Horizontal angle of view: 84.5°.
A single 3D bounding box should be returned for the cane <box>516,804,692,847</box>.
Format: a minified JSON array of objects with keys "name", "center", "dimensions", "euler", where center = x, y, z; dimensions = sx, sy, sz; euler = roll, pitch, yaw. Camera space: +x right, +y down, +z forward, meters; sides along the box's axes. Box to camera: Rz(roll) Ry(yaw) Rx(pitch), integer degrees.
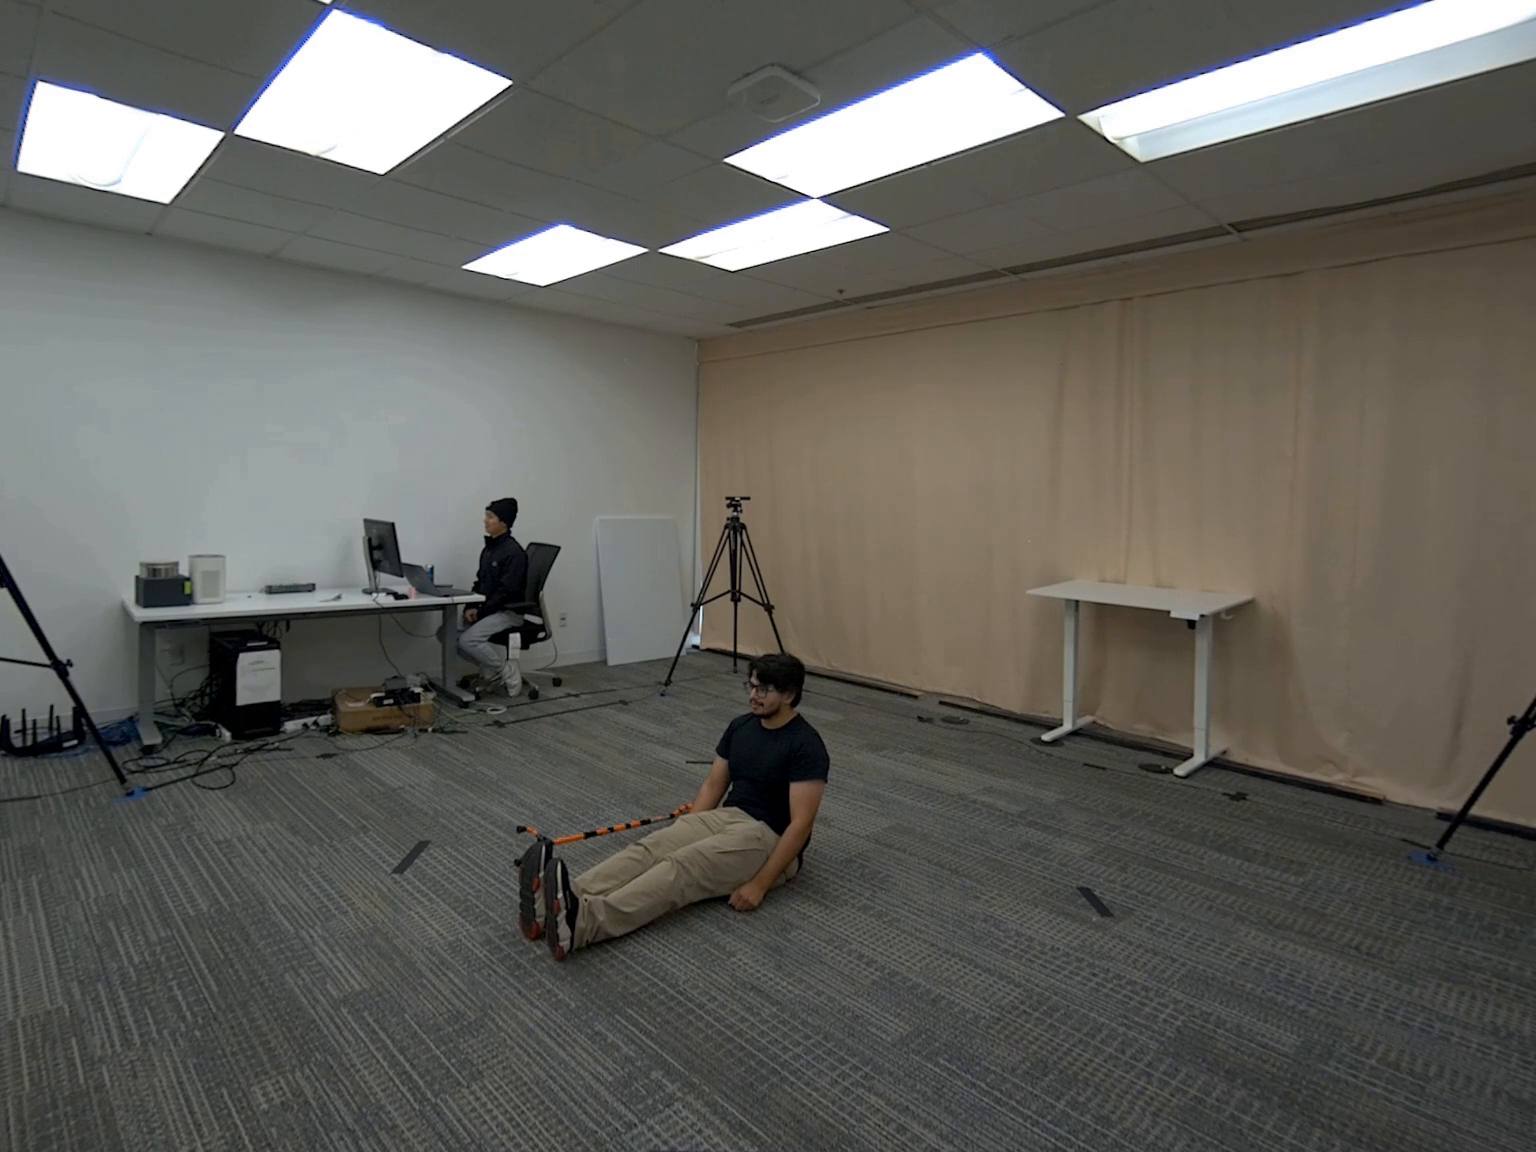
[{"name":"cane","center":[-0.574,1.019,3.403],"dimensions":[0.211,0.152,0.885],"euler":[3,0,42]}]
